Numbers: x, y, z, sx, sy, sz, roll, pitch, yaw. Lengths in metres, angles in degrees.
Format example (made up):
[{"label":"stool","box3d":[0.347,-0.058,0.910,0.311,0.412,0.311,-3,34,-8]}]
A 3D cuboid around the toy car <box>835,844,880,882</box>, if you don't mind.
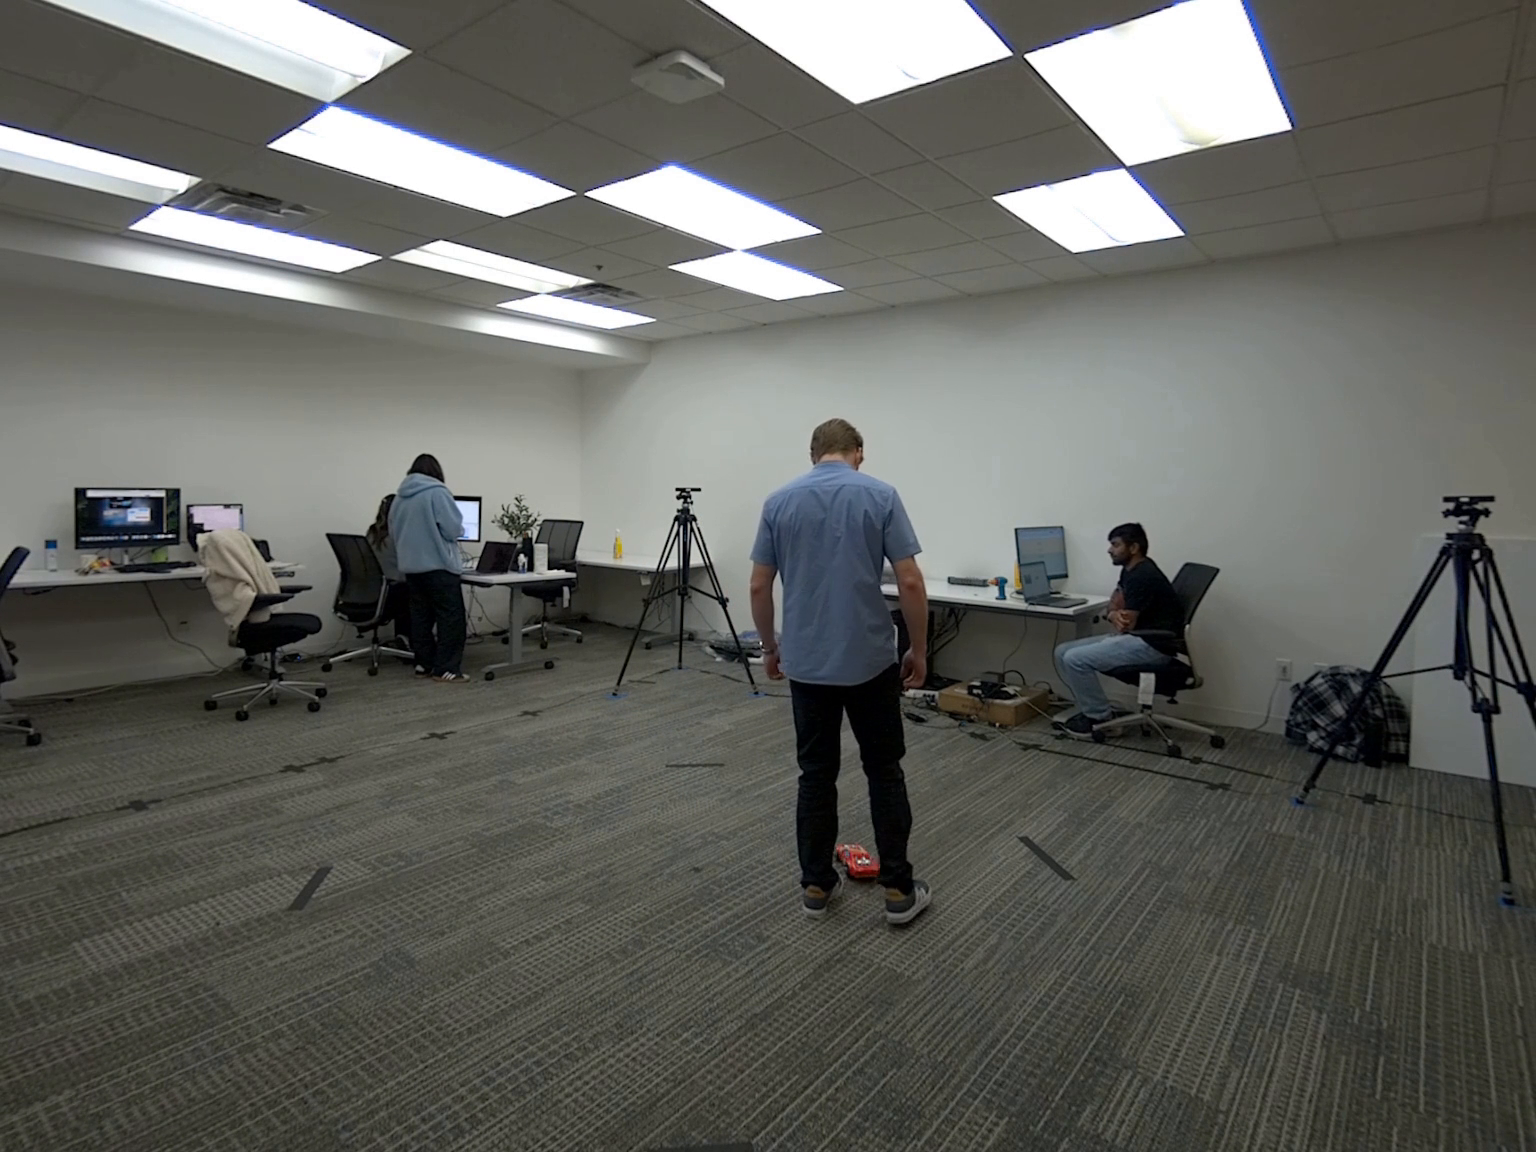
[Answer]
[{"label":"toy car","box3d":[0.322,1.042,3.123,0.129,0.084,0.256,-1,-5,-12]}]
